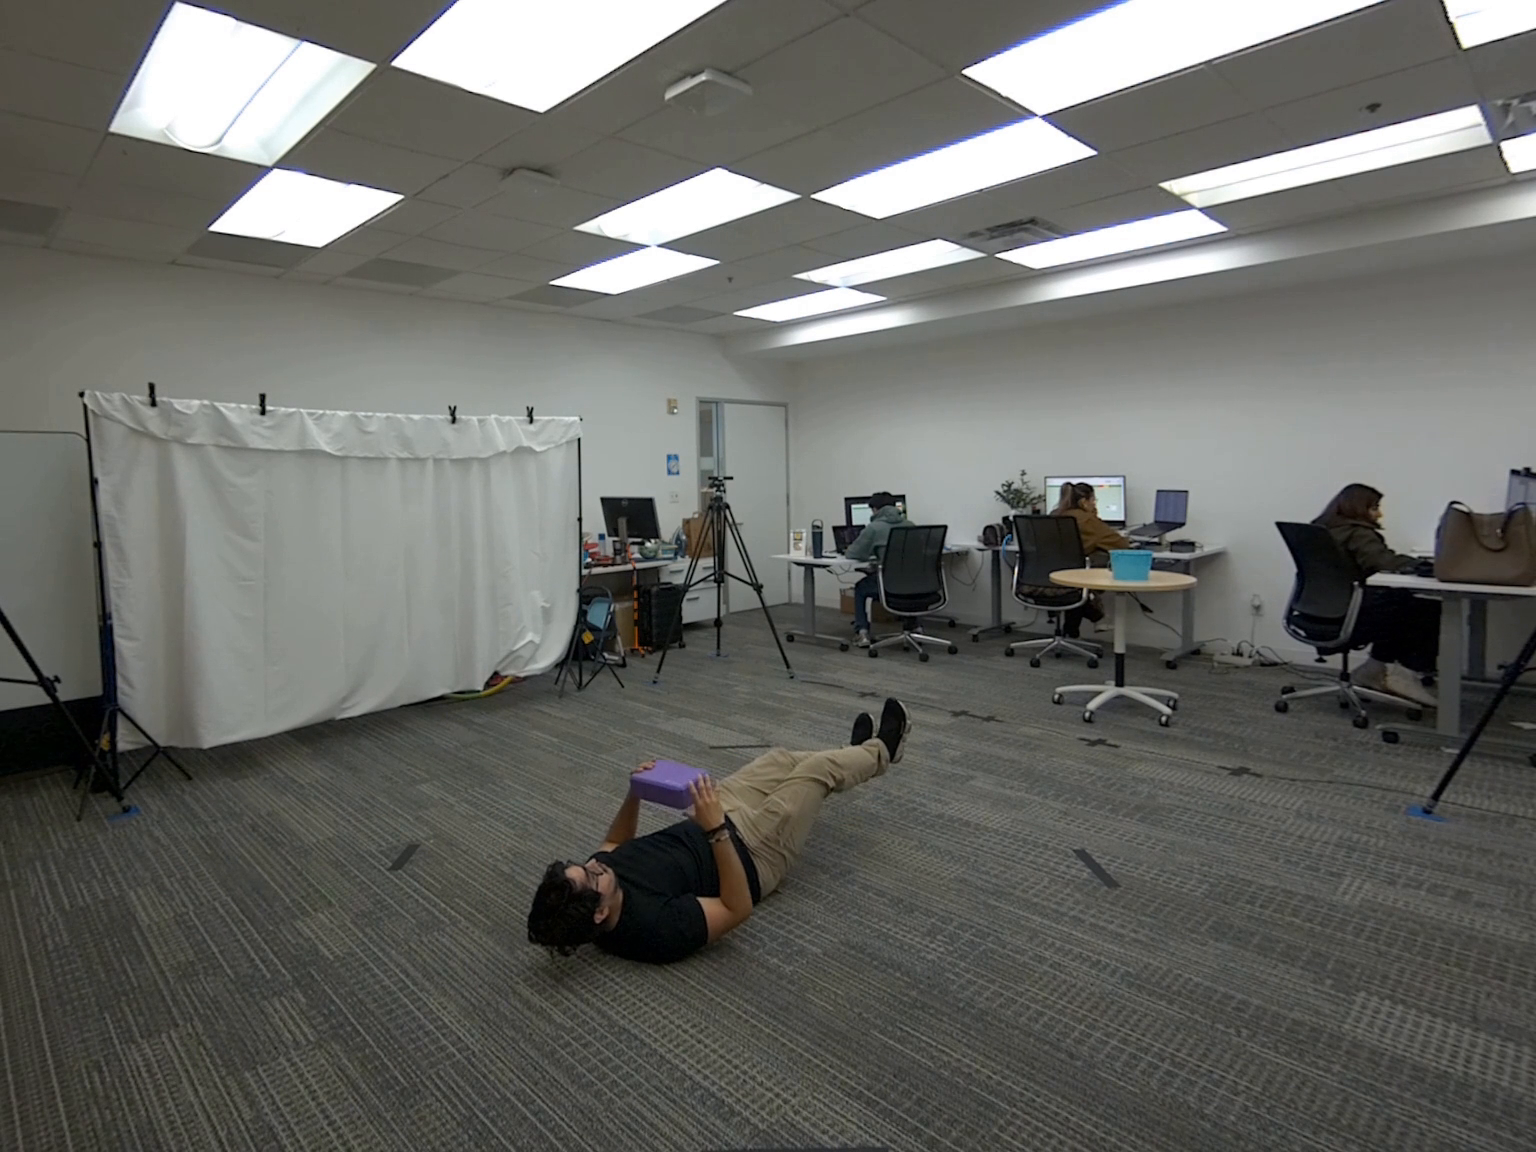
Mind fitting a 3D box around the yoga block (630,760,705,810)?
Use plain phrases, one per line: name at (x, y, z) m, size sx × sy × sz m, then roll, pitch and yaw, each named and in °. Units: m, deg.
yoga block at (-0.301, 0.664, 2.715) m, size 0.236 × 0.076 × 0.146 m, roll 0°, pitch 12°, yaw 36°
